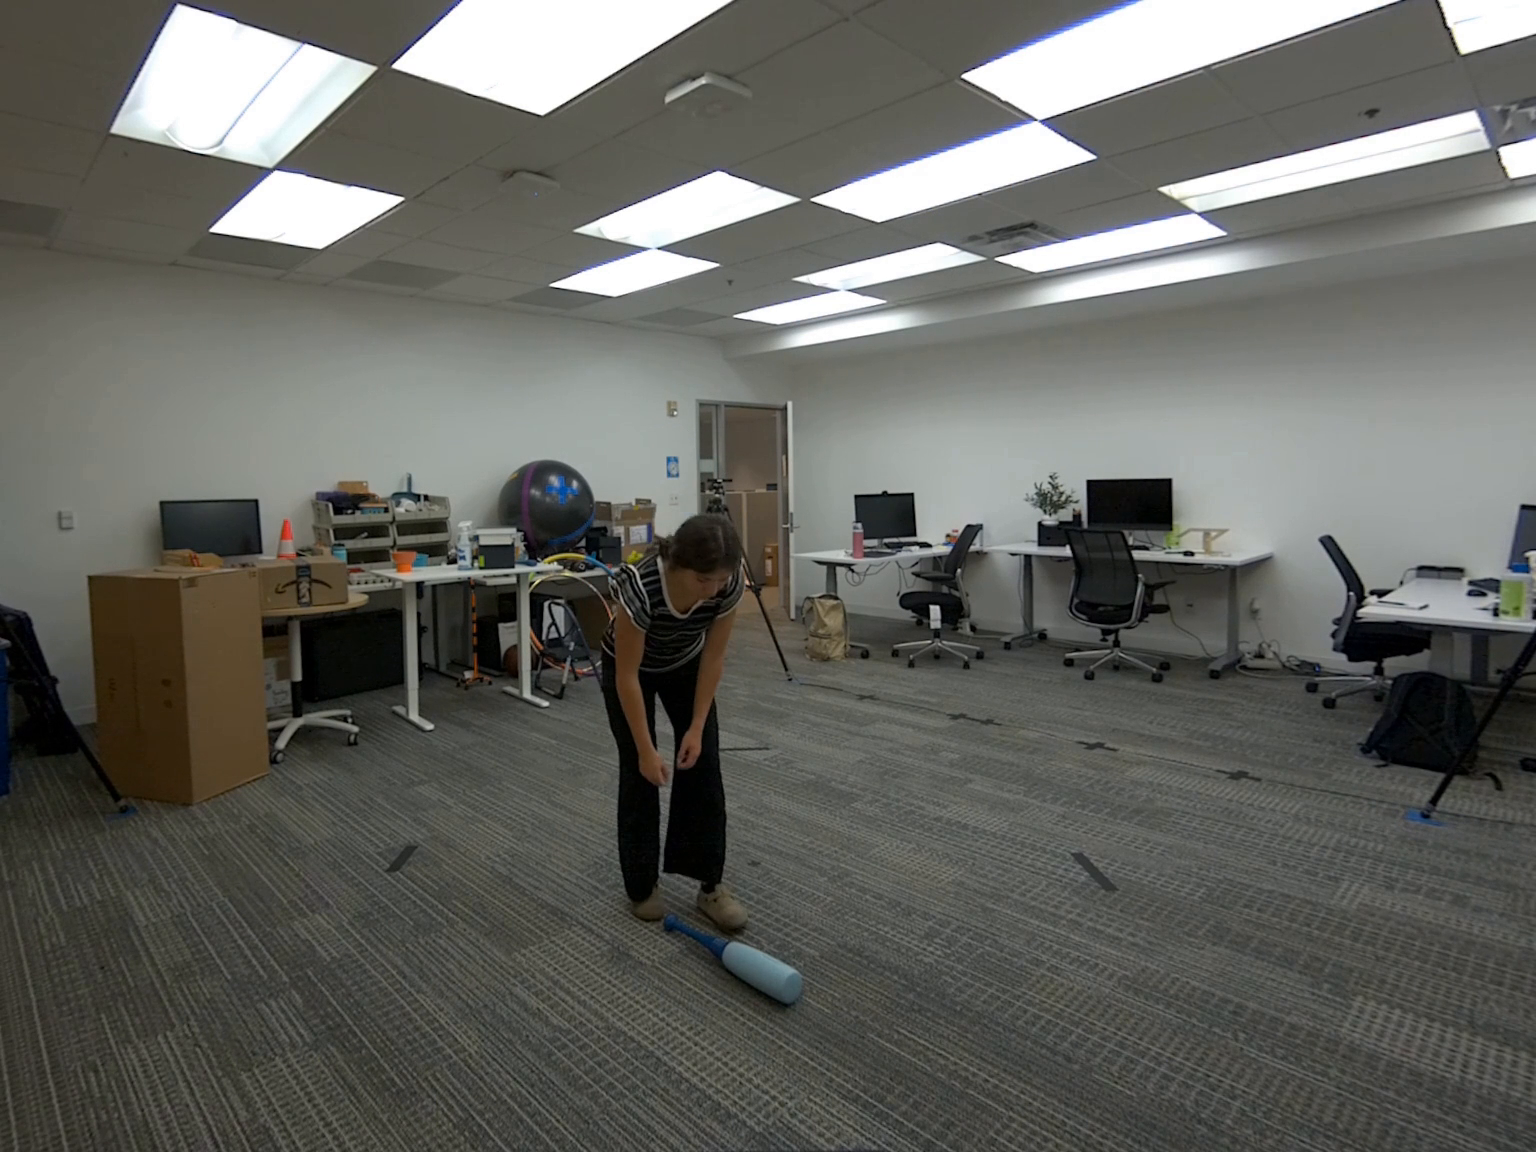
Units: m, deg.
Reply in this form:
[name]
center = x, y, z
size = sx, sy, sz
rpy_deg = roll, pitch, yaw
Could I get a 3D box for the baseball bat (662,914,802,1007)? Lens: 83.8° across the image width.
[baseball bat]
center = -0.116, 1.086, 2.459
size = 0.087, 0.089, 0.559
rpy_deg = -5, 4, -43
